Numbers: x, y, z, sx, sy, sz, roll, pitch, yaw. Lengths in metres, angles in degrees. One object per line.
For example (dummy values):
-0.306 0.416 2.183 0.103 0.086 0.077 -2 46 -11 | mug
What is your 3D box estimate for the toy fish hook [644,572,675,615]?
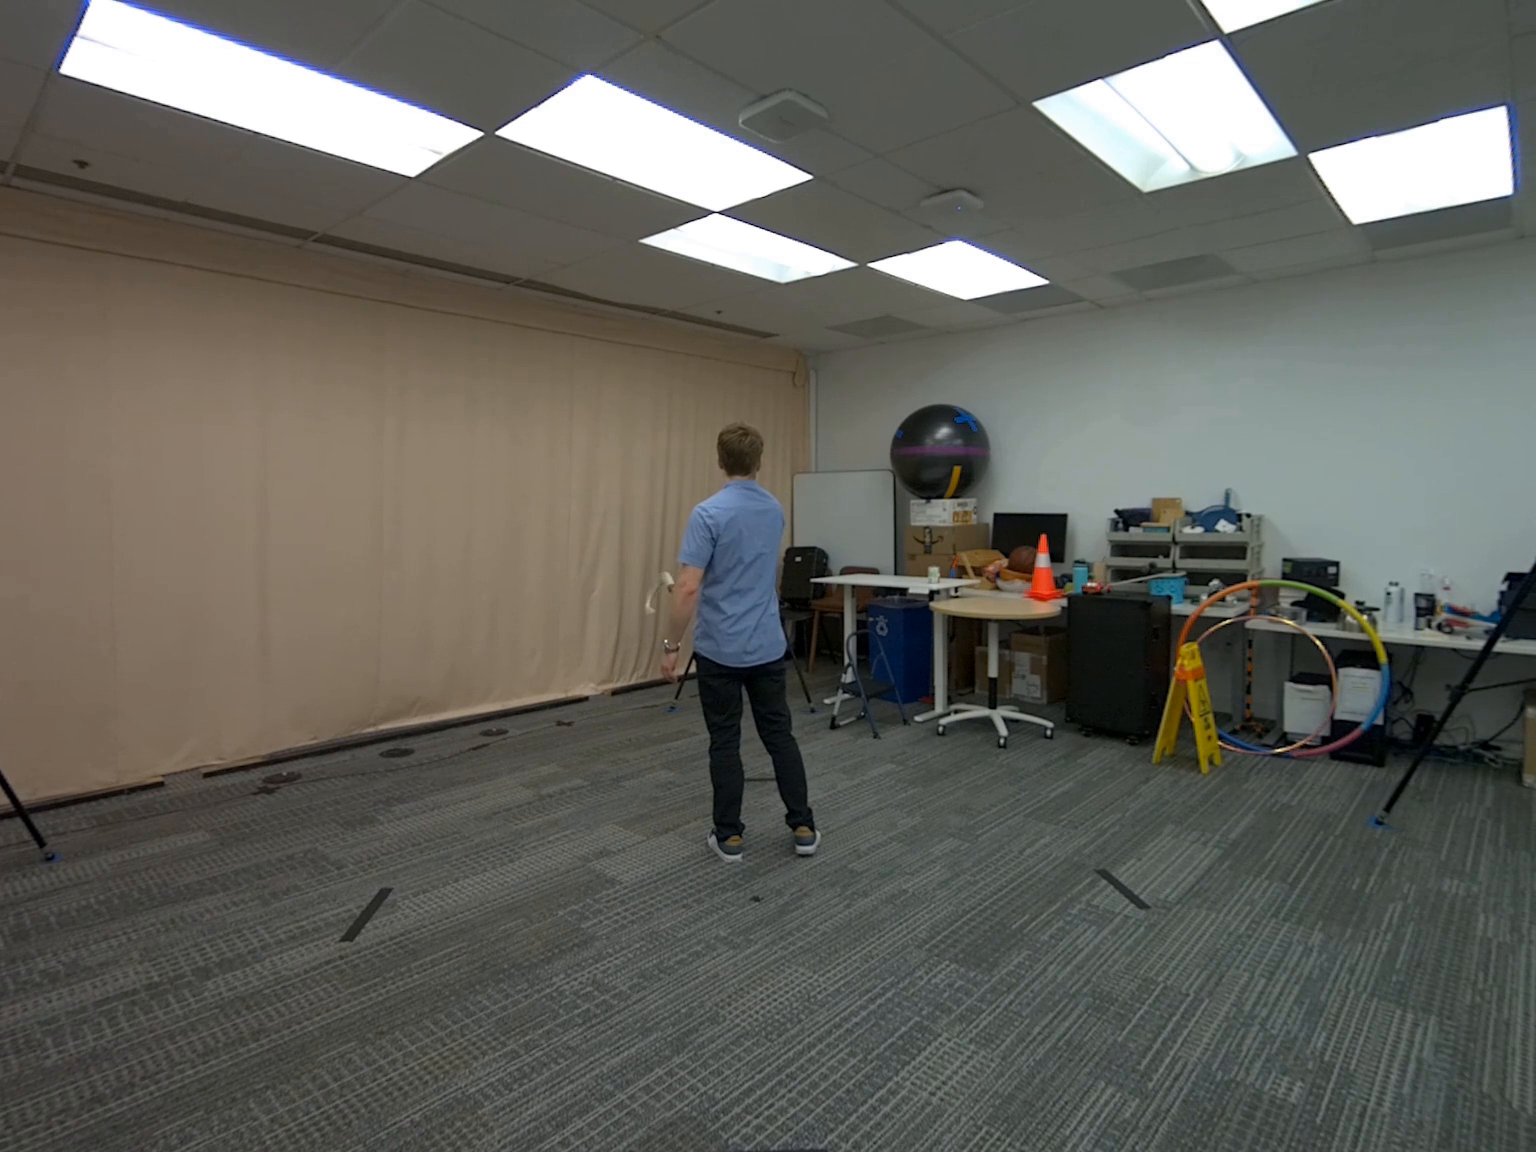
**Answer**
-0.467 0.092 3.926 0.047 0.225 0.518 21 -4 -22 | toy fish hook
